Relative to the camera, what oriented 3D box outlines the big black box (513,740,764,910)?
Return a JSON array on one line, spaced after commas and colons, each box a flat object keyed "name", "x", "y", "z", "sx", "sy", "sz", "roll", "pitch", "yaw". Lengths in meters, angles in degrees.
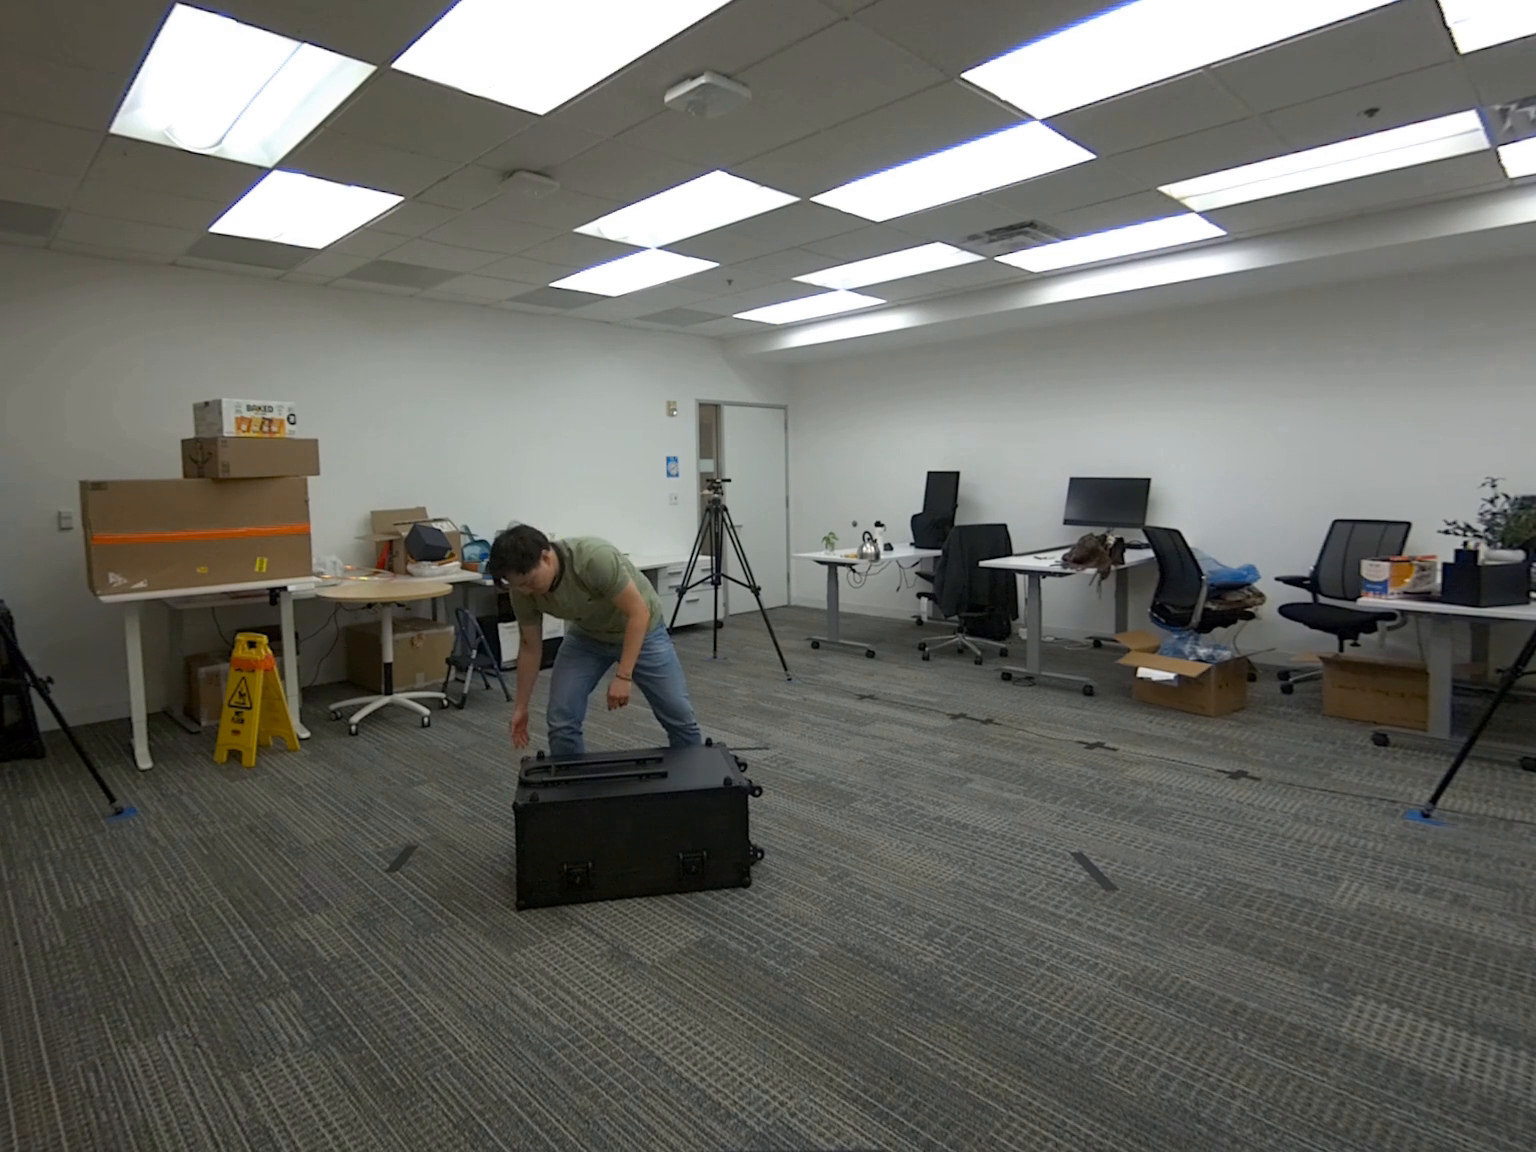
[{"name": "big black box", "x": -0.461, "y": 0.858, "z": 3.087, "sx": 0.853, "sy": 0.395, "sz": 0.529, "roll": -1, "pitch": 5, "yaw": -11}]
